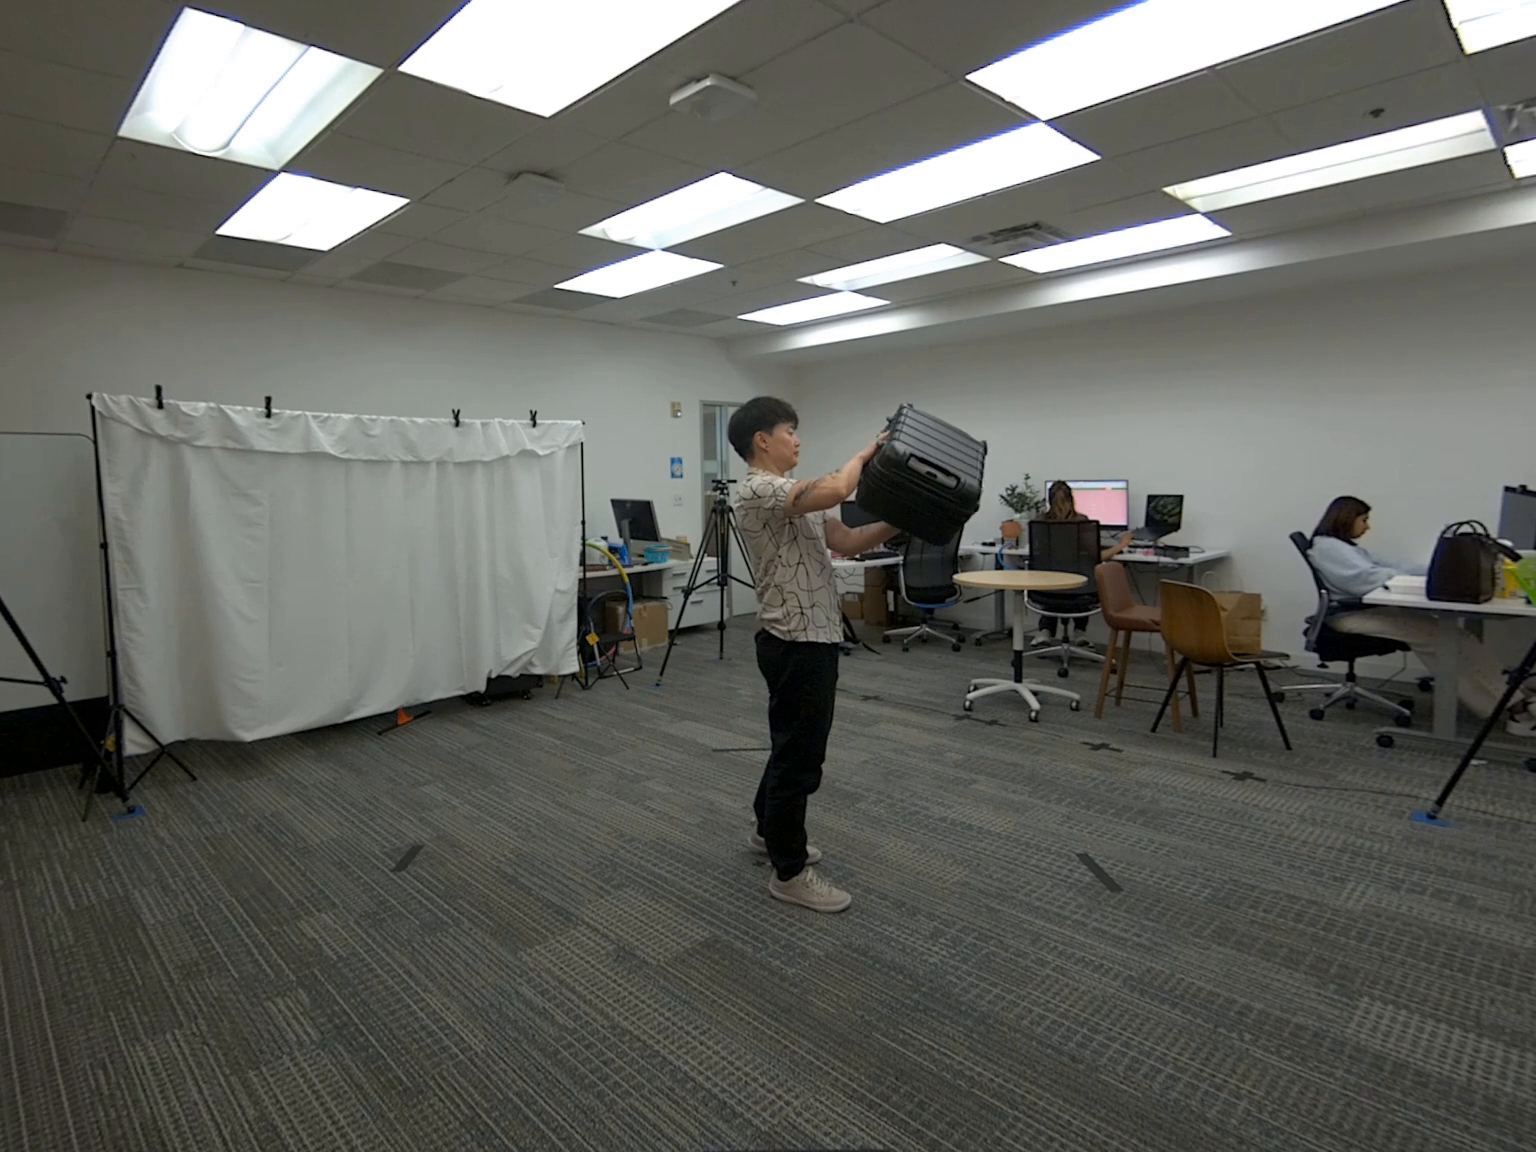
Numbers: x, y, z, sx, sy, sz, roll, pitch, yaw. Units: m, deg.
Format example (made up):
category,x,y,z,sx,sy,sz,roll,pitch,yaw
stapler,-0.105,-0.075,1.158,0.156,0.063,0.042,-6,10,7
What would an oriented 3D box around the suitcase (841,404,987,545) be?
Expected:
category,x,y,z,sx,sy,sz,roll,pitch,yaw
suitcase,0.526,-0.341,2.861,0.377,0.246,0.553,27,29,2
